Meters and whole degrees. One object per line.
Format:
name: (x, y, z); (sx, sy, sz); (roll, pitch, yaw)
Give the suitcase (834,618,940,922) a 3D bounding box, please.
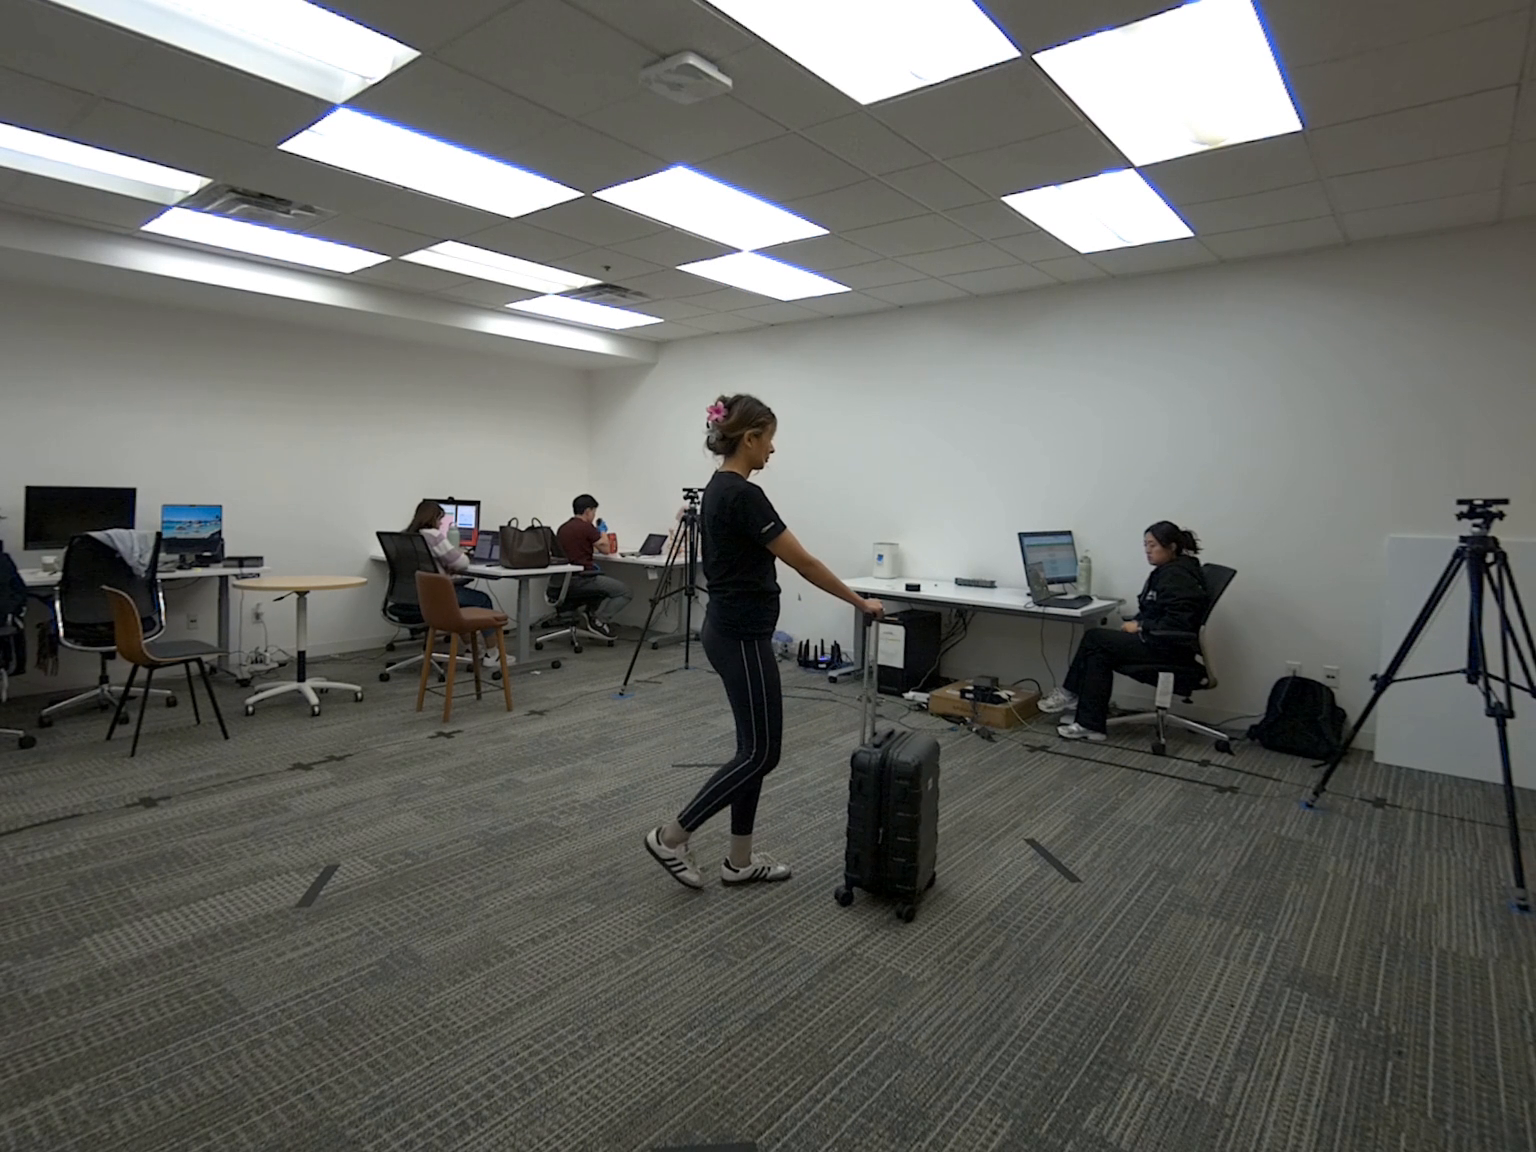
suitcase: (0.444, 0.626, 2.939); (0.264, 0.976, 0.375); (4, 3, 25)
